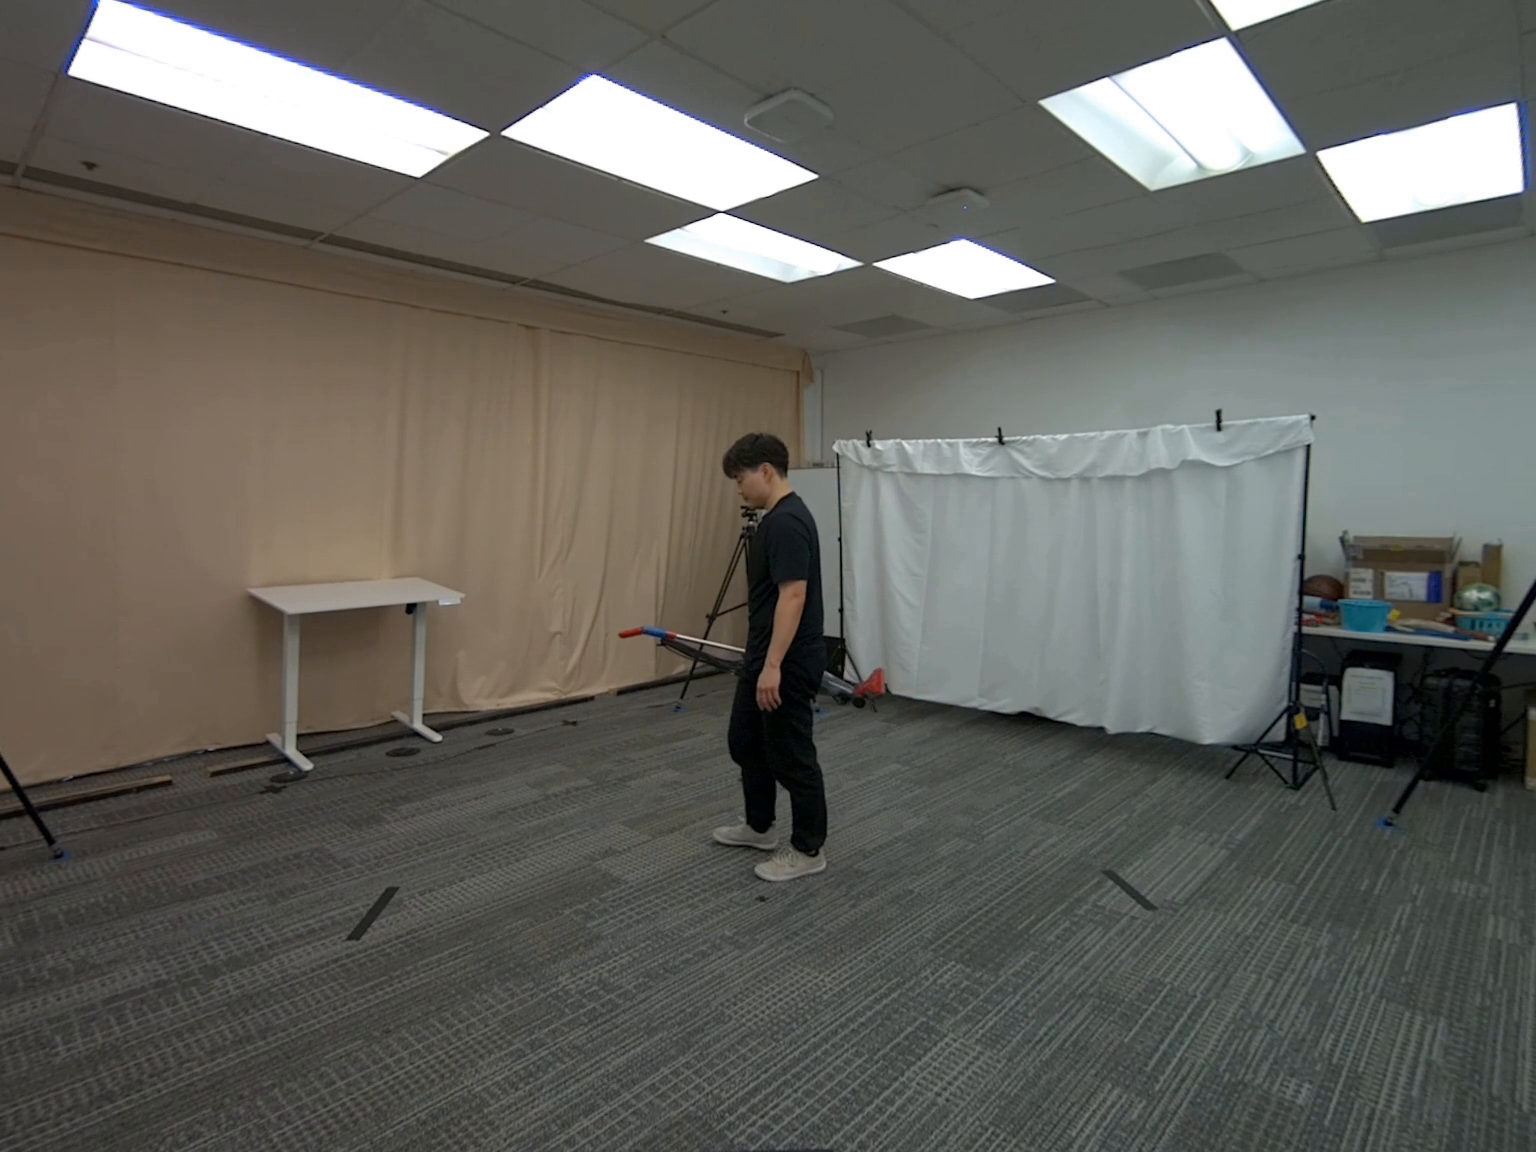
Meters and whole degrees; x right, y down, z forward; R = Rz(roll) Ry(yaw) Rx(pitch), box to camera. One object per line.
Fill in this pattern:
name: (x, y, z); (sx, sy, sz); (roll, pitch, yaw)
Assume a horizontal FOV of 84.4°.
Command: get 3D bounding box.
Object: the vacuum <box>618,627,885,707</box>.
vacuum: (-0.094, 0.355, 3.464); (1.056, 0.143, 0.253); (12, 21, 5)
